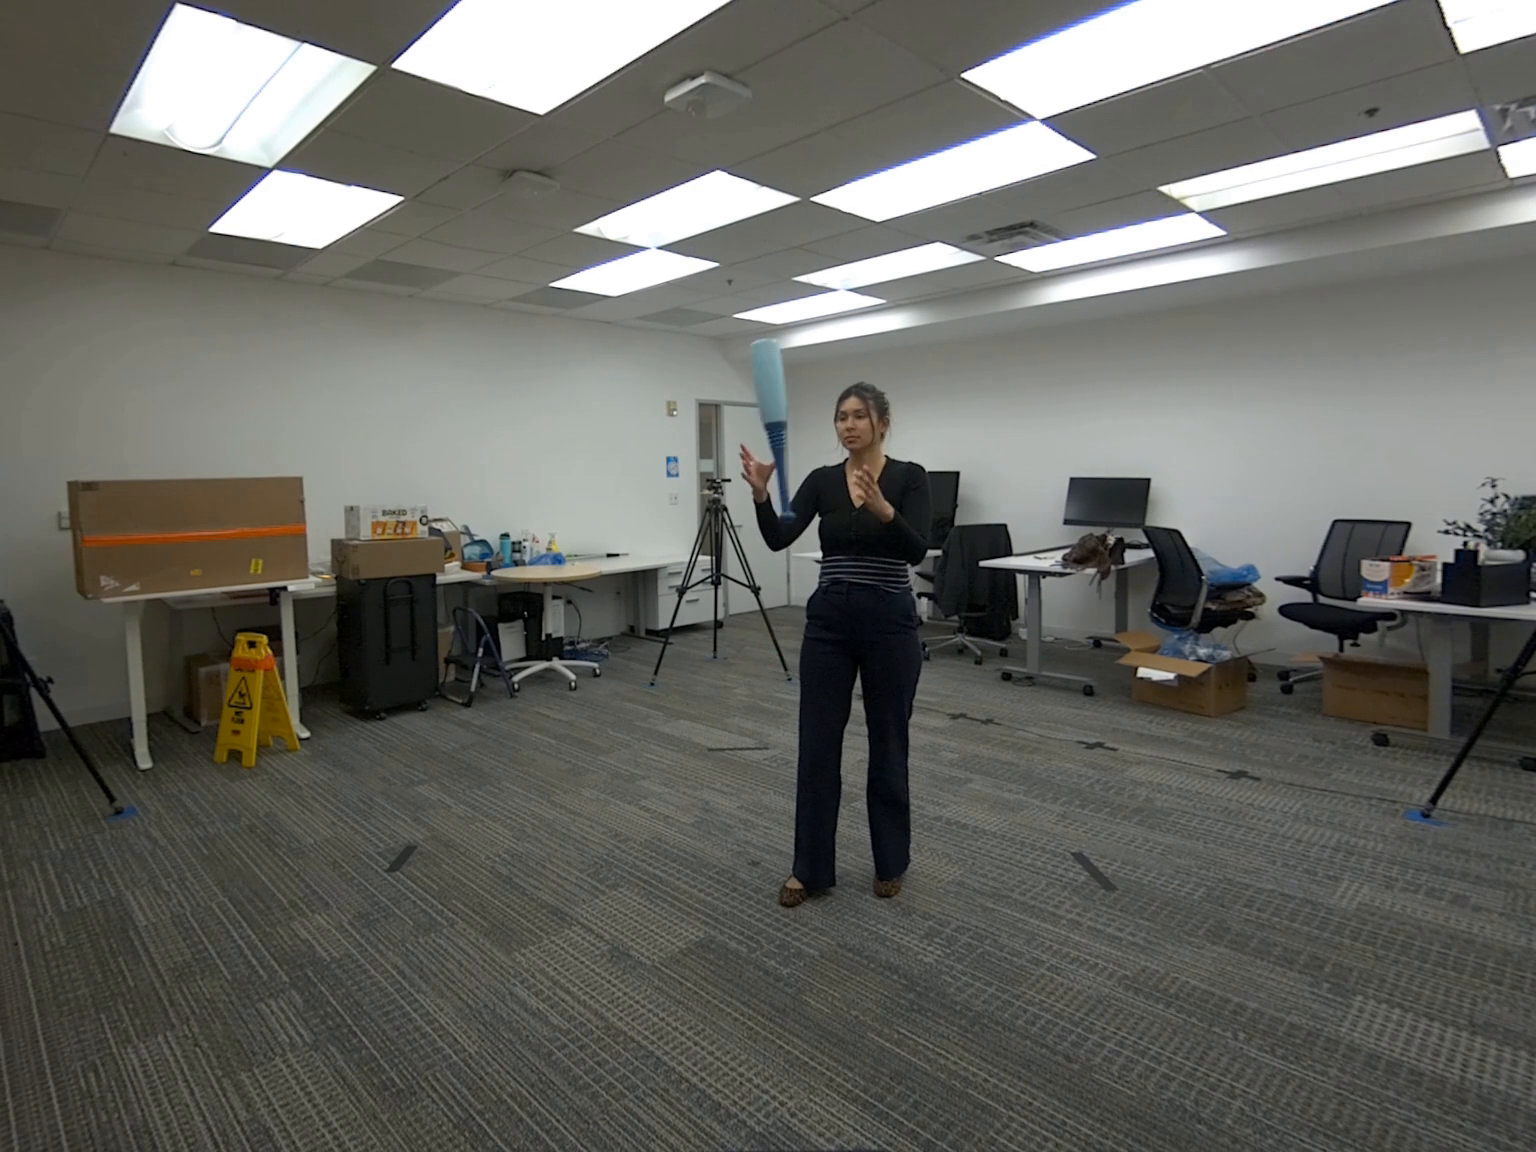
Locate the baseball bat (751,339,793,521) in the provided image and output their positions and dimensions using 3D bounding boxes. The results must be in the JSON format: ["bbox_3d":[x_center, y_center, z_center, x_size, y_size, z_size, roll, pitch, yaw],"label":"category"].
[{"bbox_3d":[0.035,-0.387,2.497,0.089,0.545,0.089,-8,-4,-2],"label":"baseball bat"}]
